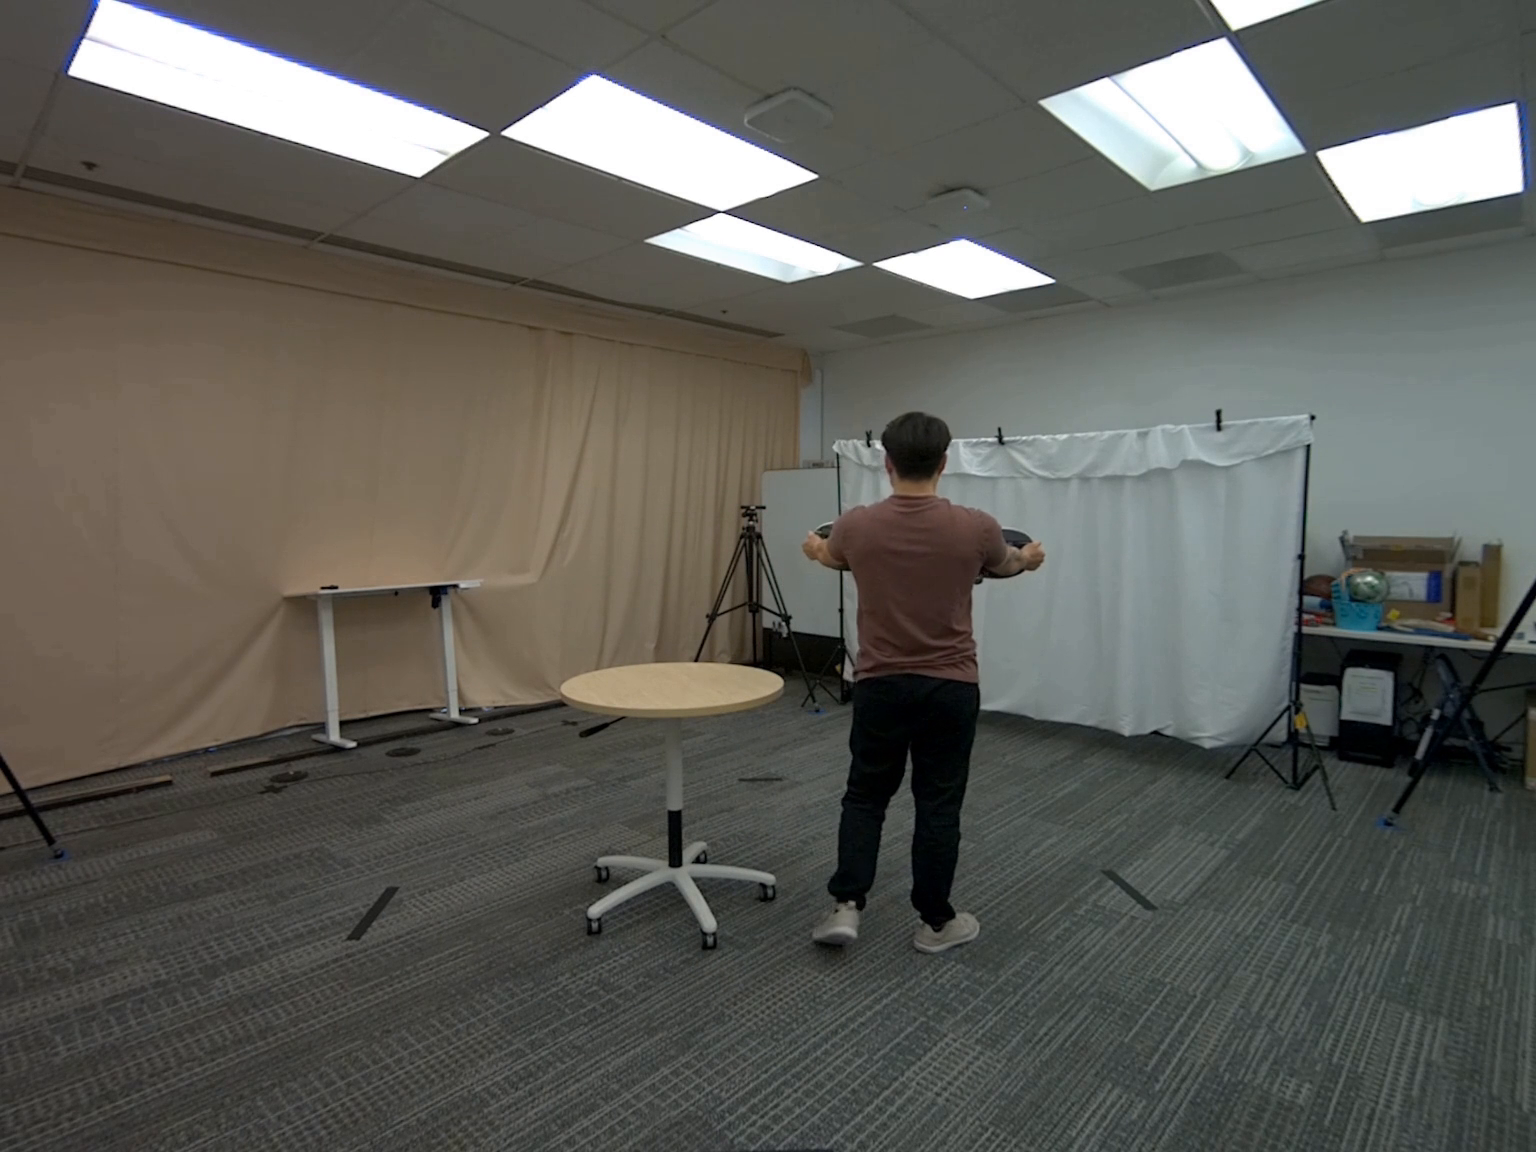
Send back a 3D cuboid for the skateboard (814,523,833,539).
[{"bbox_3d":[0.539,-0.086,2.990,0.798,0.191,0.109,3,16,15],"label":"skateboard"}]
